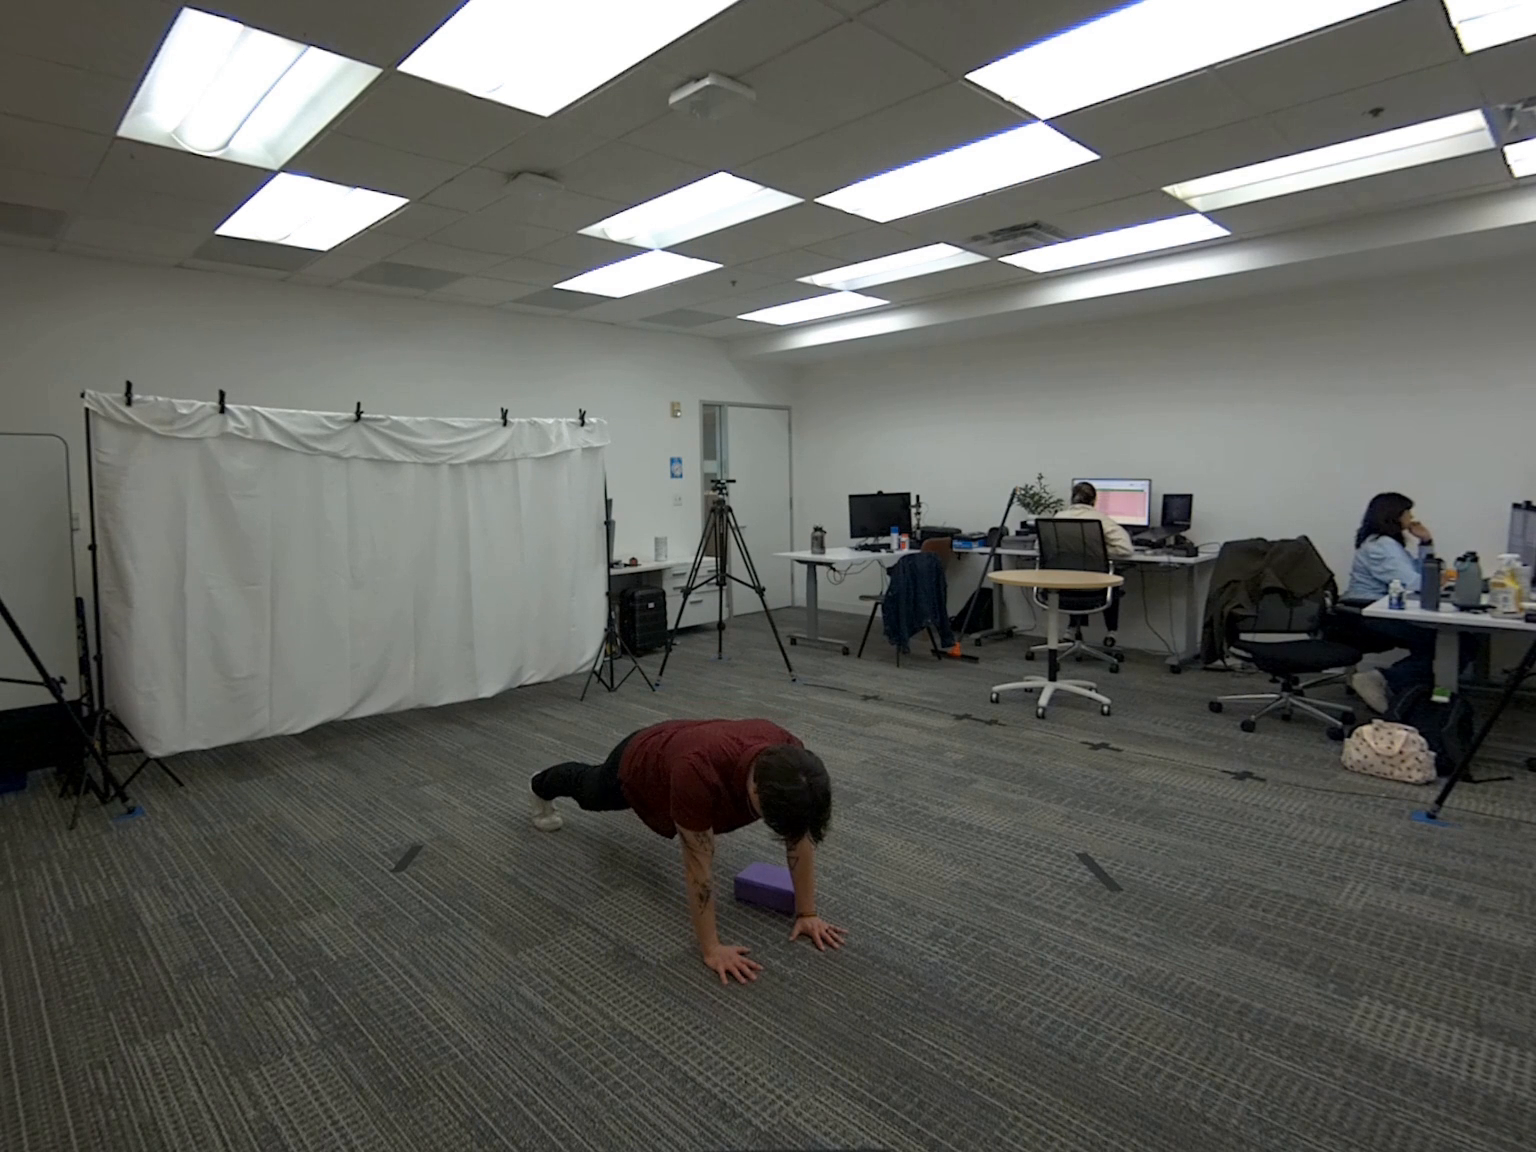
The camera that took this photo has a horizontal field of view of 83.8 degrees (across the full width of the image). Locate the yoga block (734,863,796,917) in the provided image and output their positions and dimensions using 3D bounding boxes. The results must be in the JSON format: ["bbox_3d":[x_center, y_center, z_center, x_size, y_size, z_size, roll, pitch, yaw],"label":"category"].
[{"bbox_3d":[0.023,1.033,2.848,0.236,0.076,0.145,4,7,32],"label":"yoga block"}]
